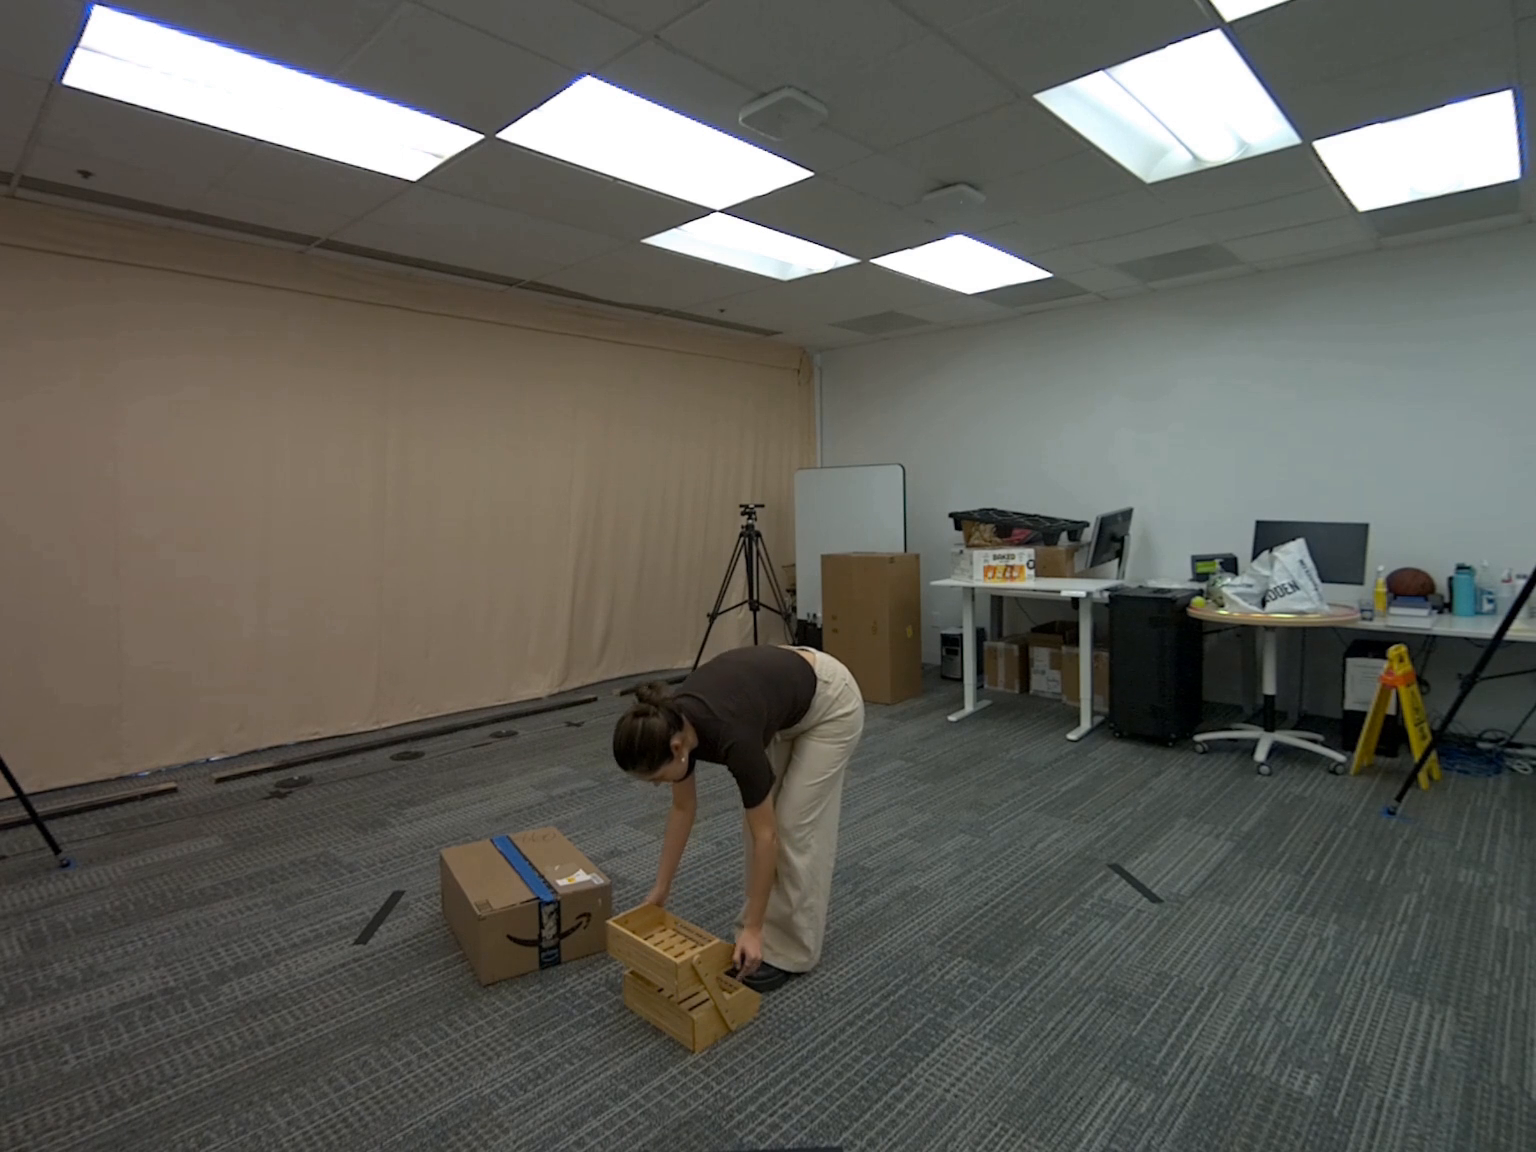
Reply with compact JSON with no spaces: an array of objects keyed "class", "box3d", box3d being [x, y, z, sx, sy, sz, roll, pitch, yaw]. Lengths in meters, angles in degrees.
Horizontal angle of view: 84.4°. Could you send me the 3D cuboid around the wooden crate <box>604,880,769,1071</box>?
[{"class":"wooden crate","box3d":[-0.224,1.064,2.308,0.335,0.272,0.293,4,7,45]}]
